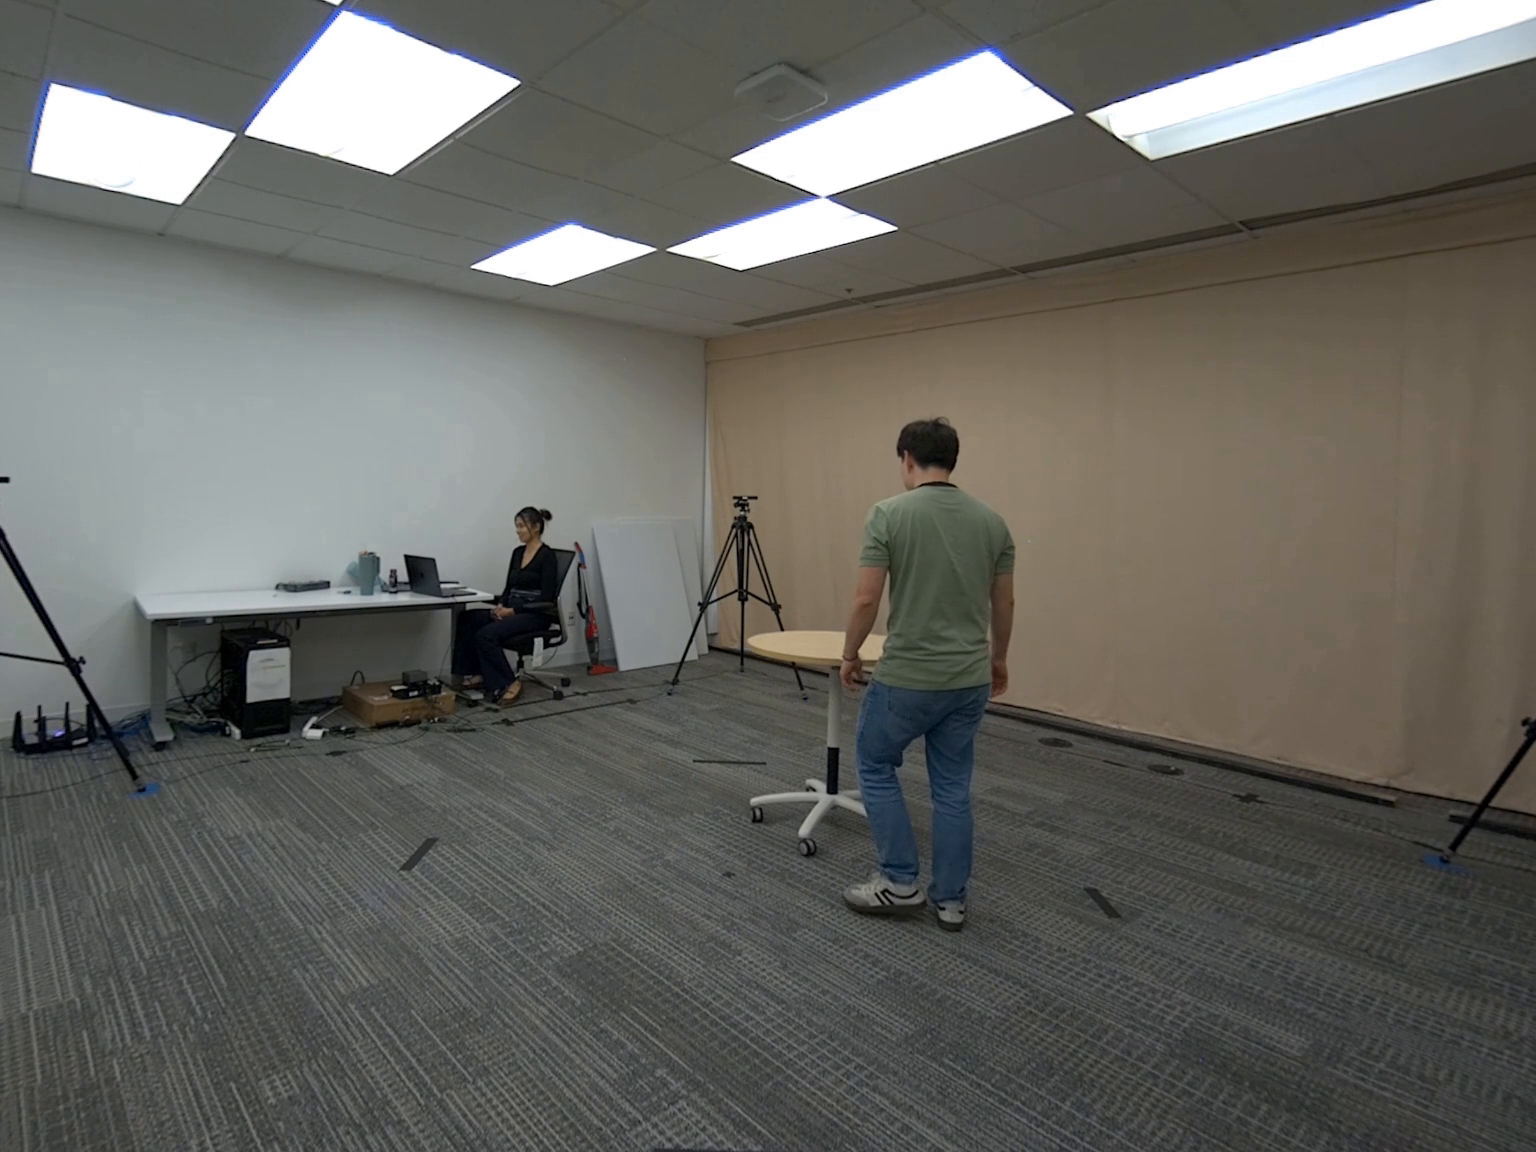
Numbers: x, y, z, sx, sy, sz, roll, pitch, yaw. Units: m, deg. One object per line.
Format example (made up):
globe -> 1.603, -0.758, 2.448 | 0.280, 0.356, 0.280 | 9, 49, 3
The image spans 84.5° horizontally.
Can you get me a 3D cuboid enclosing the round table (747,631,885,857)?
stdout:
round table -> 0.273, 0.681, 3.579 | 0.763, 0.792, 0.766 | 2, 3, -1
